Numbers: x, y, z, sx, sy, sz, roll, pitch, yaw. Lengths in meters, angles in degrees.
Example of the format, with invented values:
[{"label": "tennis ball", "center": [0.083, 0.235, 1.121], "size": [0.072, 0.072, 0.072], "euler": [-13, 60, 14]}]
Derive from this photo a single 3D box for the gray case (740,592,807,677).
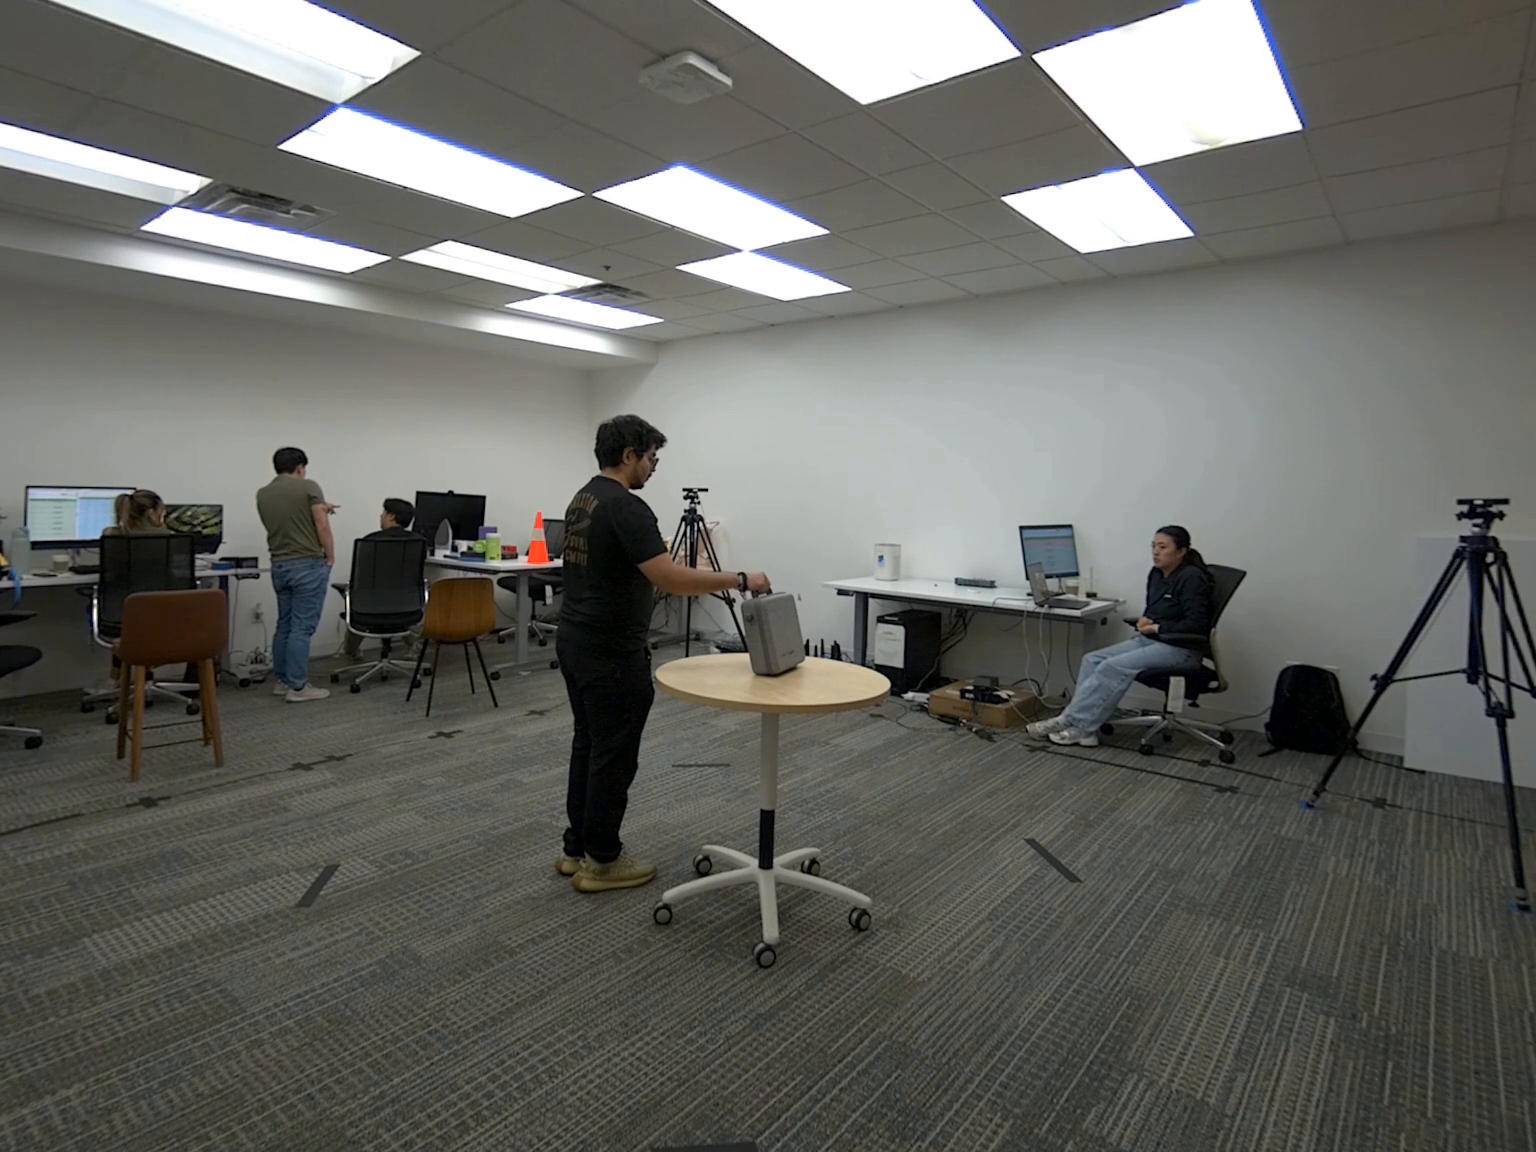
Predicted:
[{"label": "gray case", "center": [0.010, 0.189, 2.876], "size": [0.106, 0.262, 0.251], "euler": [-12, -3, 24]}]
